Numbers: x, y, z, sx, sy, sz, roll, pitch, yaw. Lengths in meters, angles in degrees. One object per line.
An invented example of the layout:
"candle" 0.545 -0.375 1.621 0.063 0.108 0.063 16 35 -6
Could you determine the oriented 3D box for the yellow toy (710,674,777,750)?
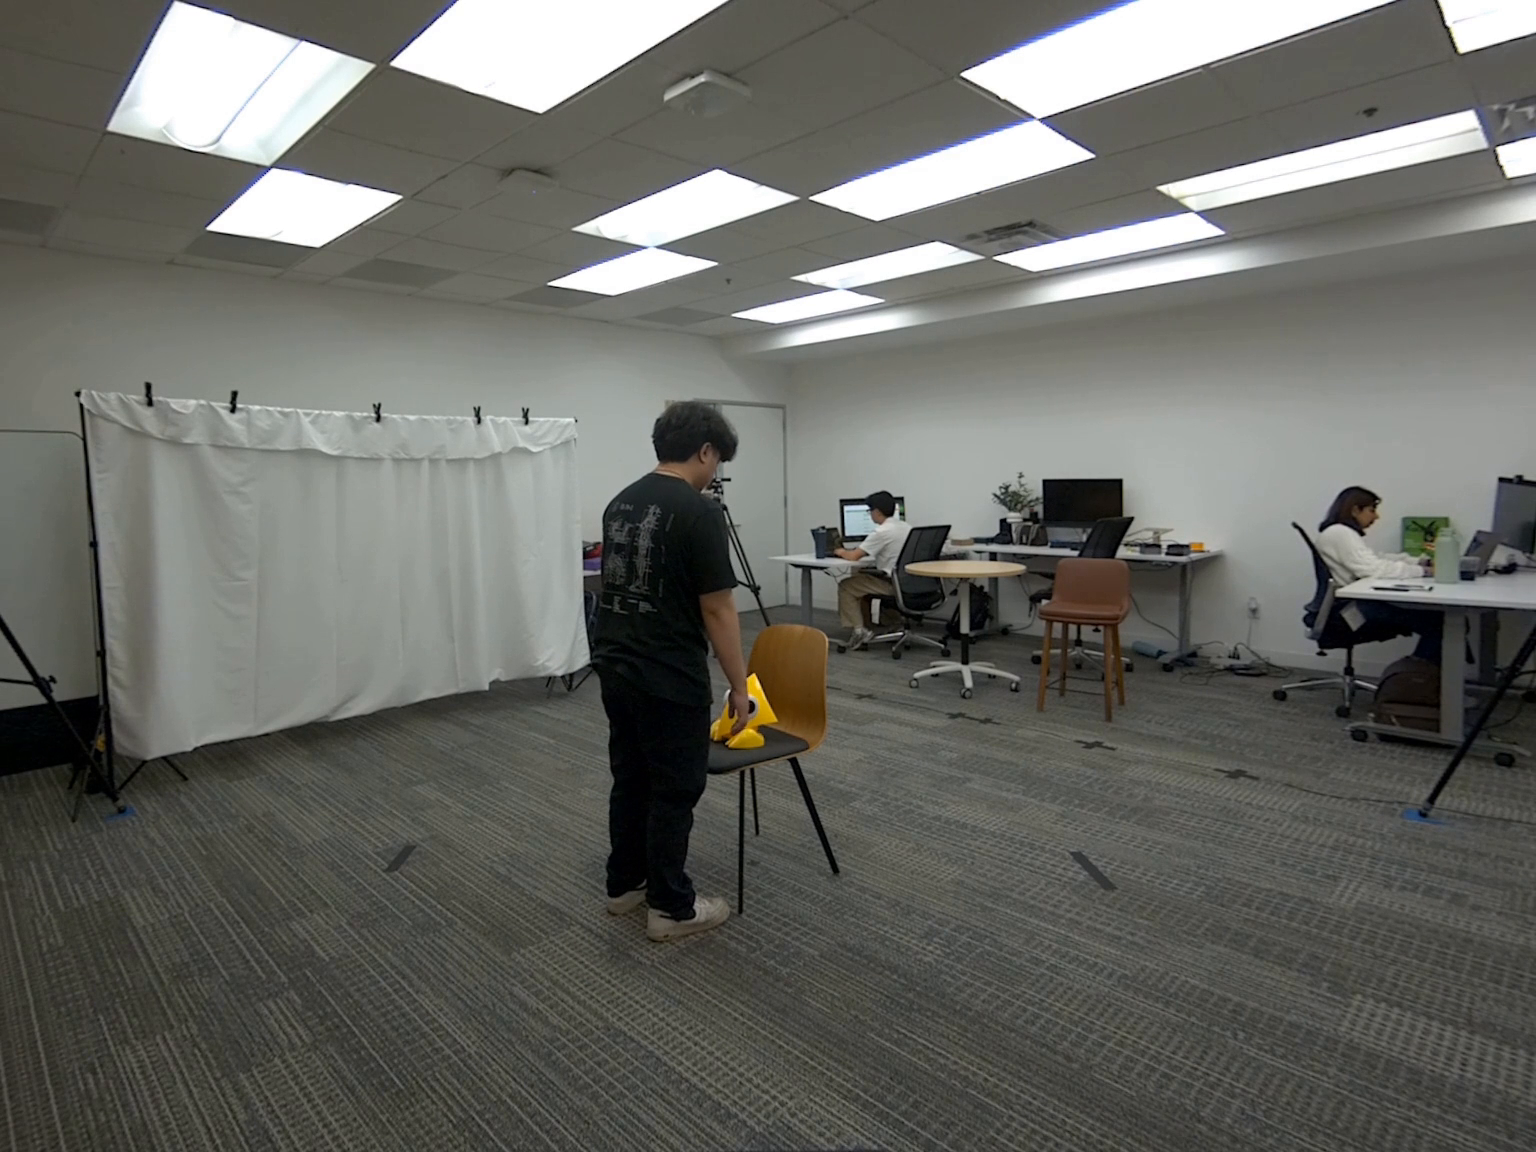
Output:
"yellow toy" -0.097 0.464 3.000 0.187 0.230 0.211 1 3 -40
